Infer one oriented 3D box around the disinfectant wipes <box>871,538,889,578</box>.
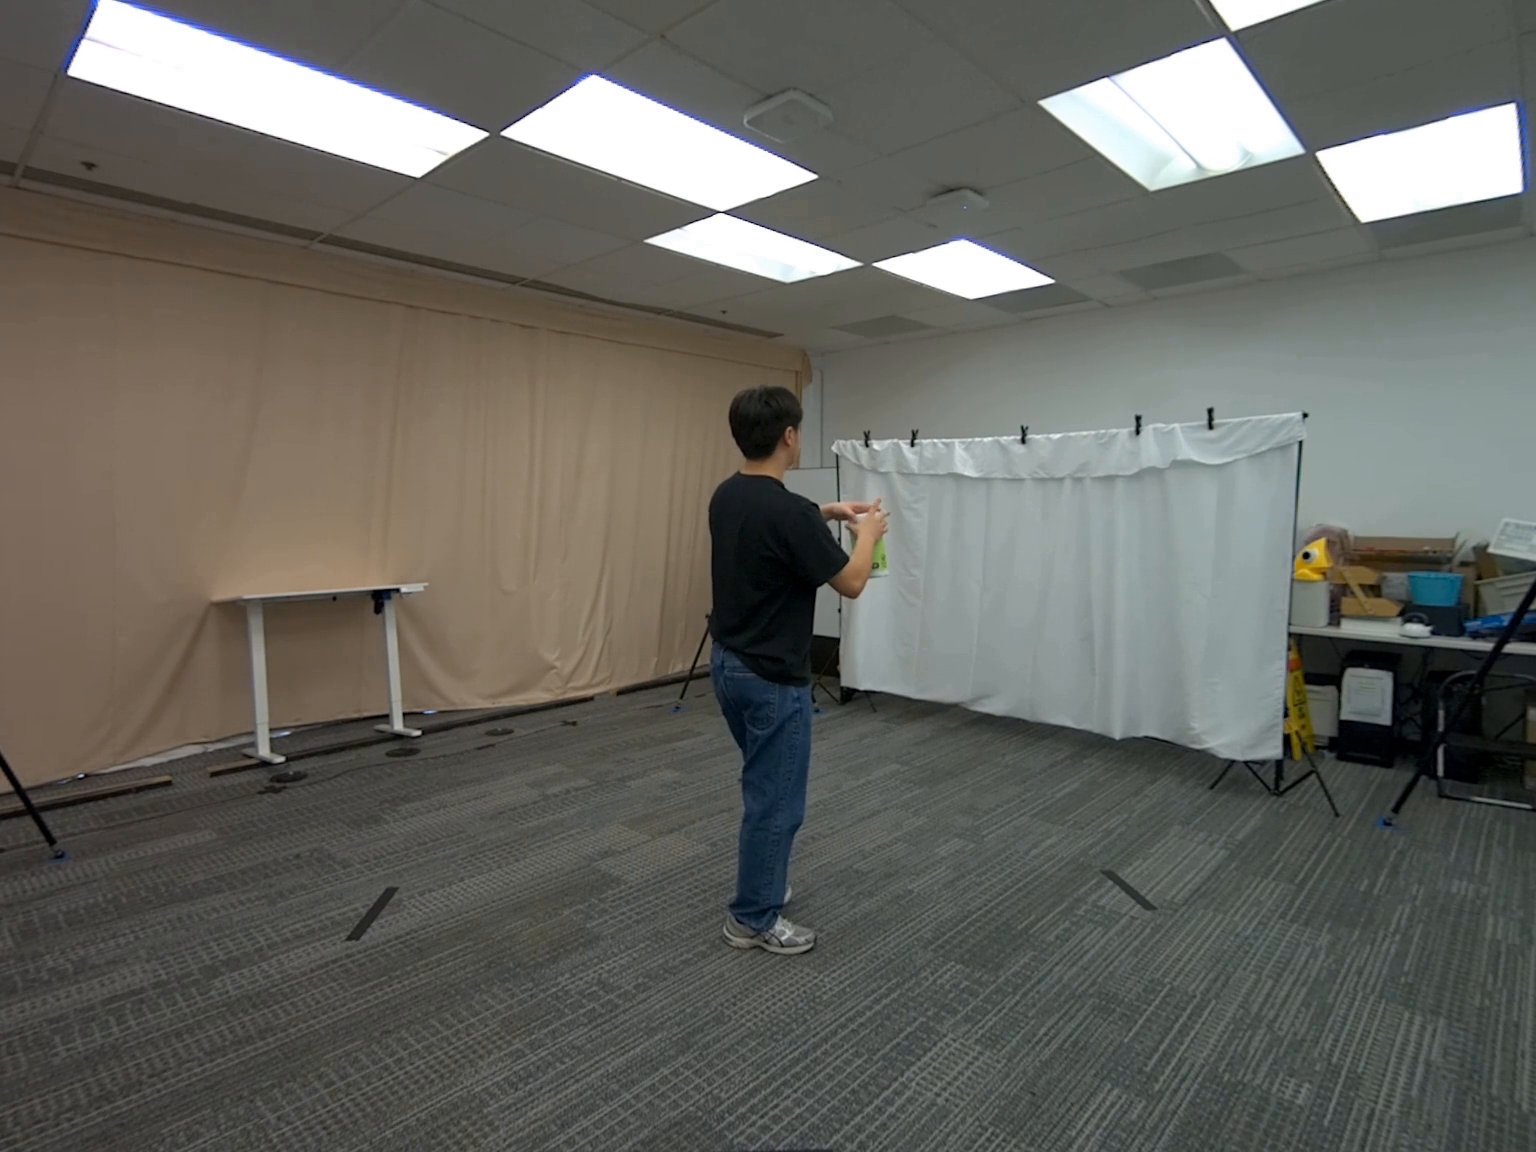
[{"bbox_3d":[0.331,-0.106,2.814,0.118,0.217,0.118,-10,0,-2],"label":"disinfectant wipes"}]
